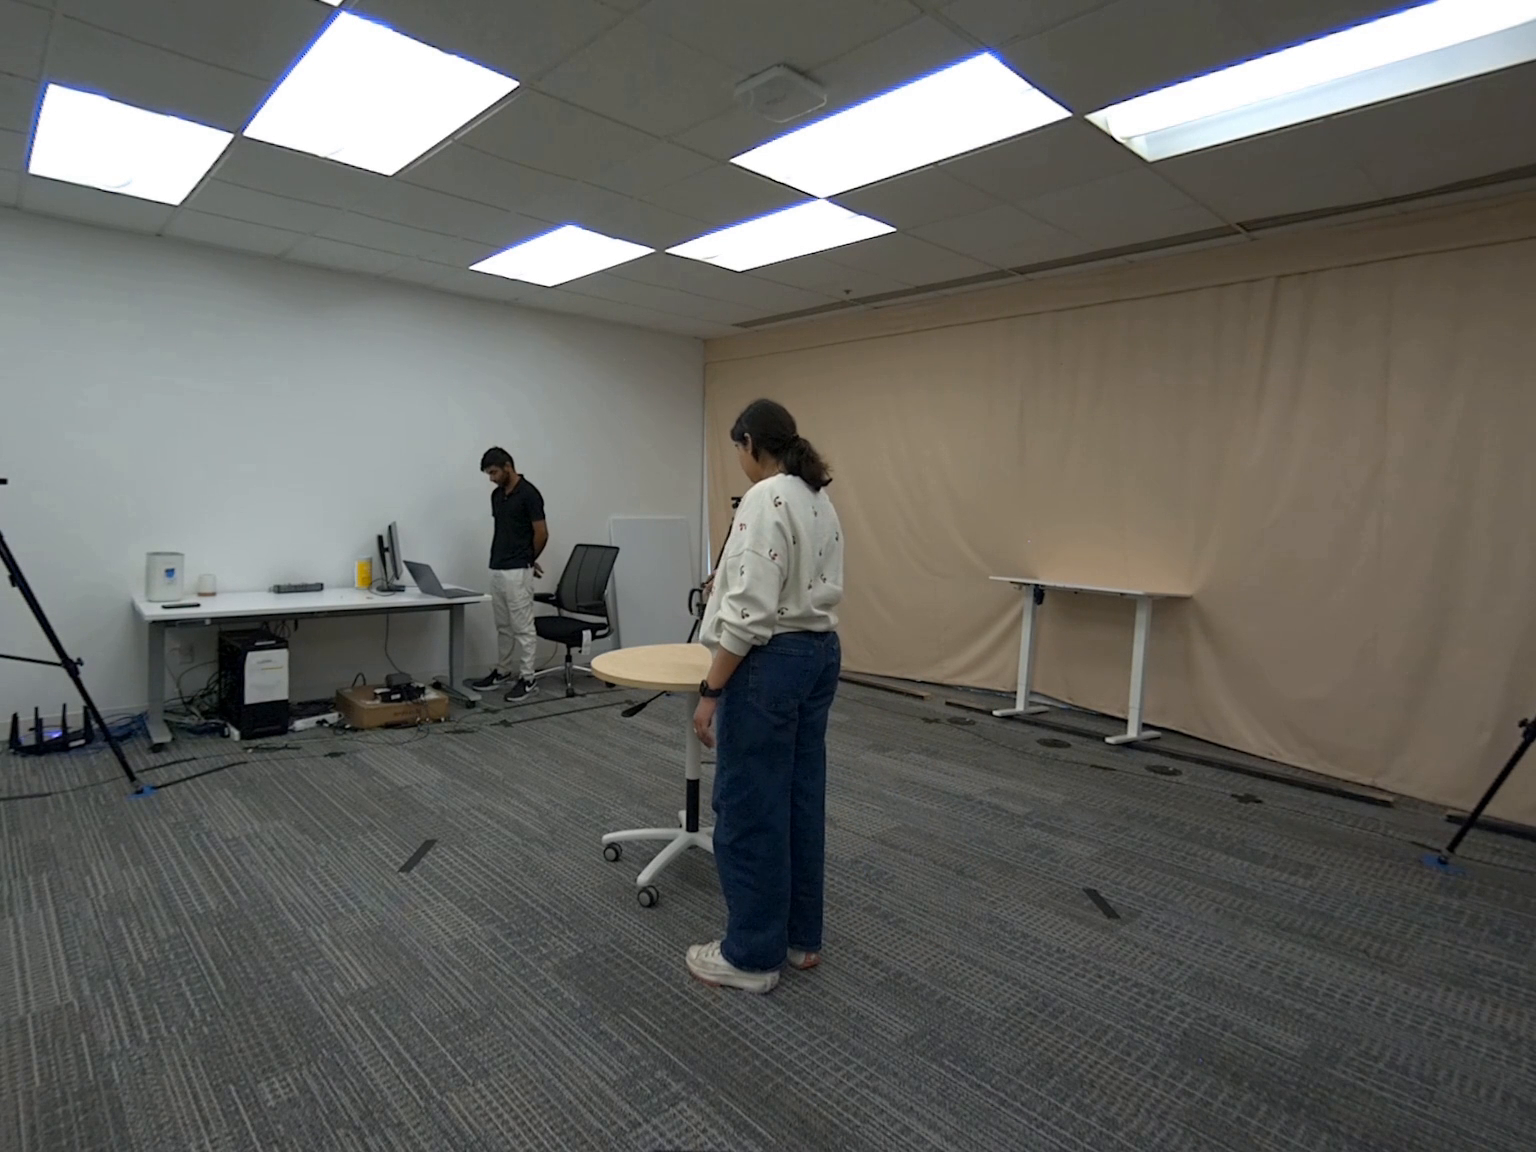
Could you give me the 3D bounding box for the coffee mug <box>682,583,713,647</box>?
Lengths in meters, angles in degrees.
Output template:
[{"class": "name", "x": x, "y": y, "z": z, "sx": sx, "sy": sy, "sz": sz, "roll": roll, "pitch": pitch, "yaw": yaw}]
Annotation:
[{"class": "coffee mug", "x": -0.230, "y": 0.138, "z": 3.066, "sx": 0.125, "sy": 0.202, "sz": 0.086, "roll": 11, "pitch": 8, "yaw": 41}]
